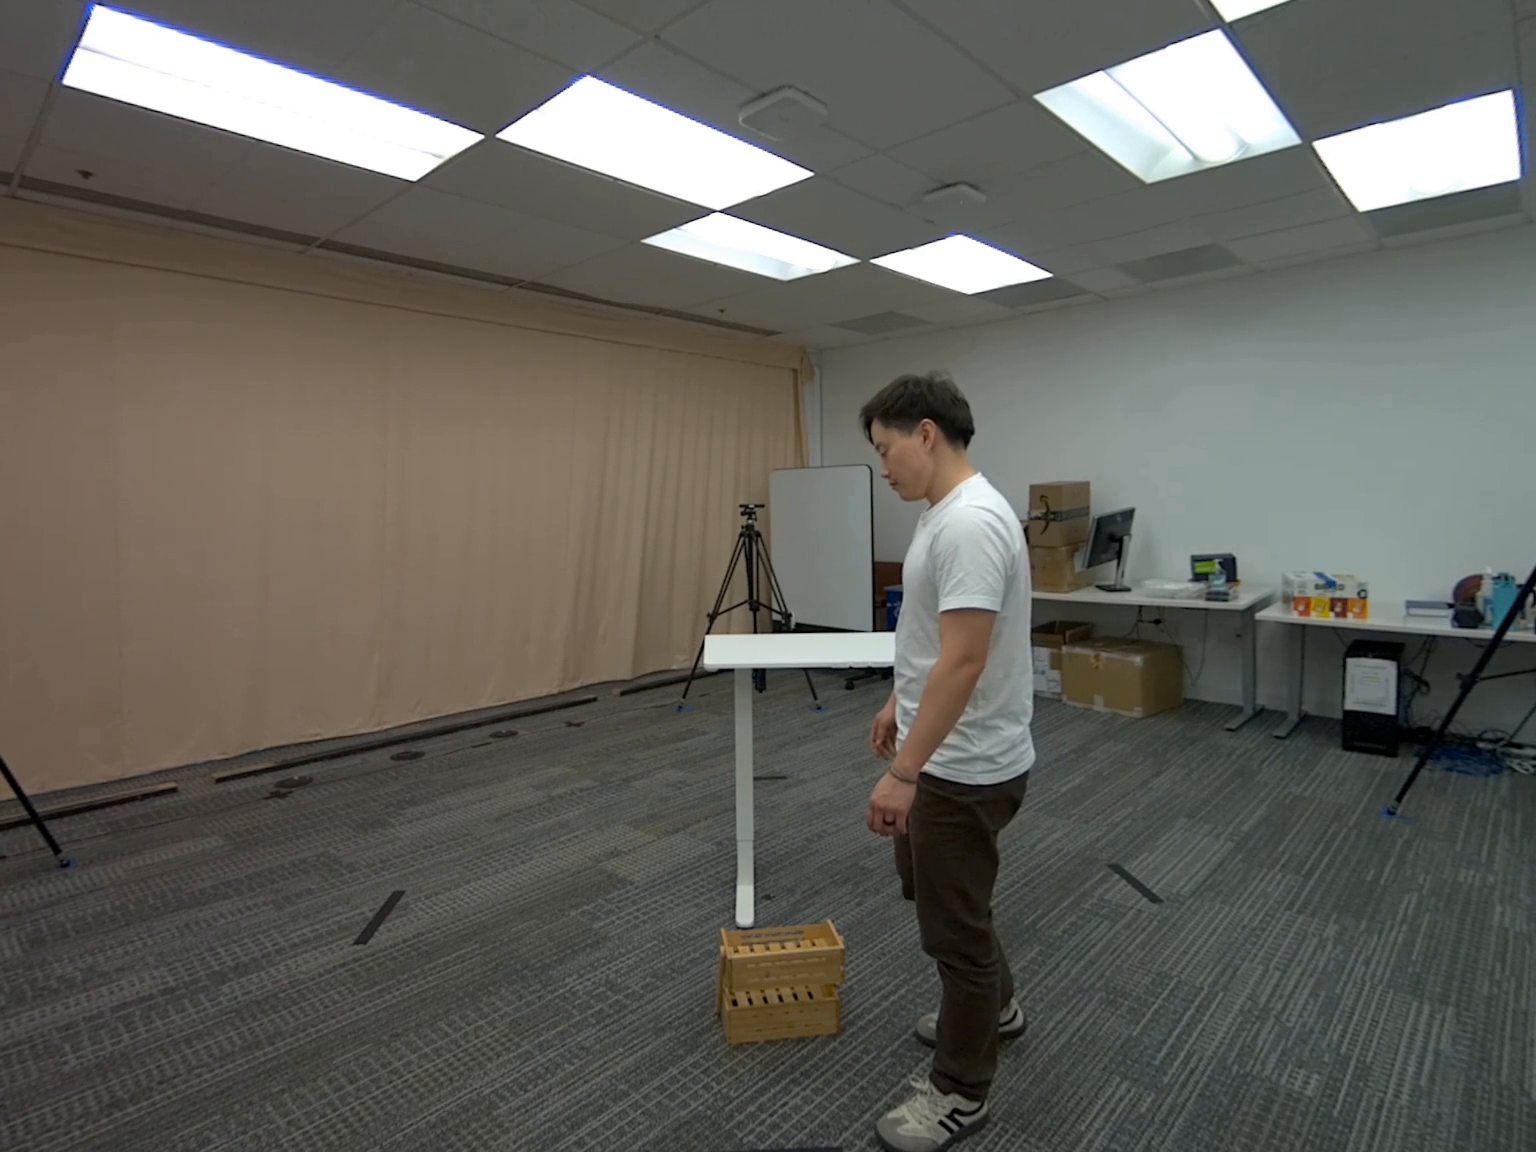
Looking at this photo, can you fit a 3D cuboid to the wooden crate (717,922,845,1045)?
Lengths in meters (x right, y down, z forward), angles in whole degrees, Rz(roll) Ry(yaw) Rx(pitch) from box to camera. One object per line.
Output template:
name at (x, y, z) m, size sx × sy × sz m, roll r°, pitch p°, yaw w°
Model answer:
wooden crate at (0.029, 1.062, 2.282) m, size 0.321 × 0.272 × 0.306 m, roll -2°, pitch 5°, yaw -10°
